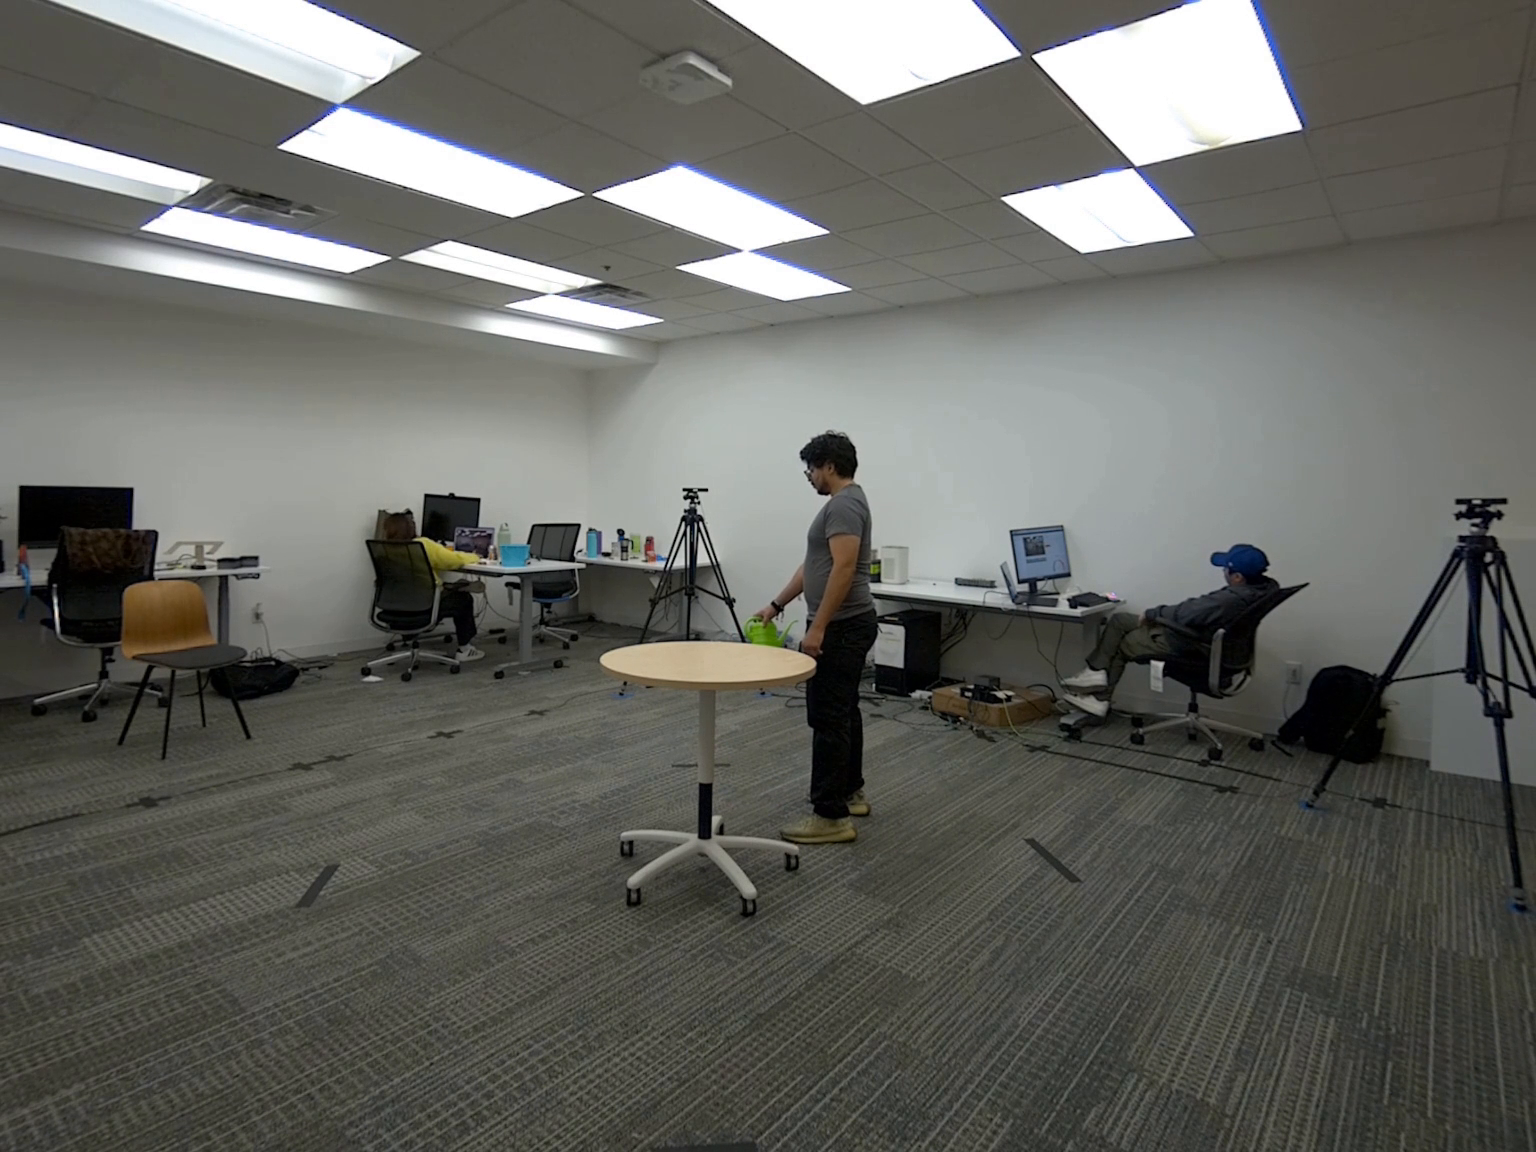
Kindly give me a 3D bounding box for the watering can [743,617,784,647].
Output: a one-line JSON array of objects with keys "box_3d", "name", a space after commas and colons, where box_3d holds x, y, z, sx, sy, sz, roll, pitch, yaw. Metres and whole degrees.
[{"box_3d": [0.018, 0.265, 3.931, 0.276, 0.181, 0.096, -1, -28, -6], "name": "watering can"}]
